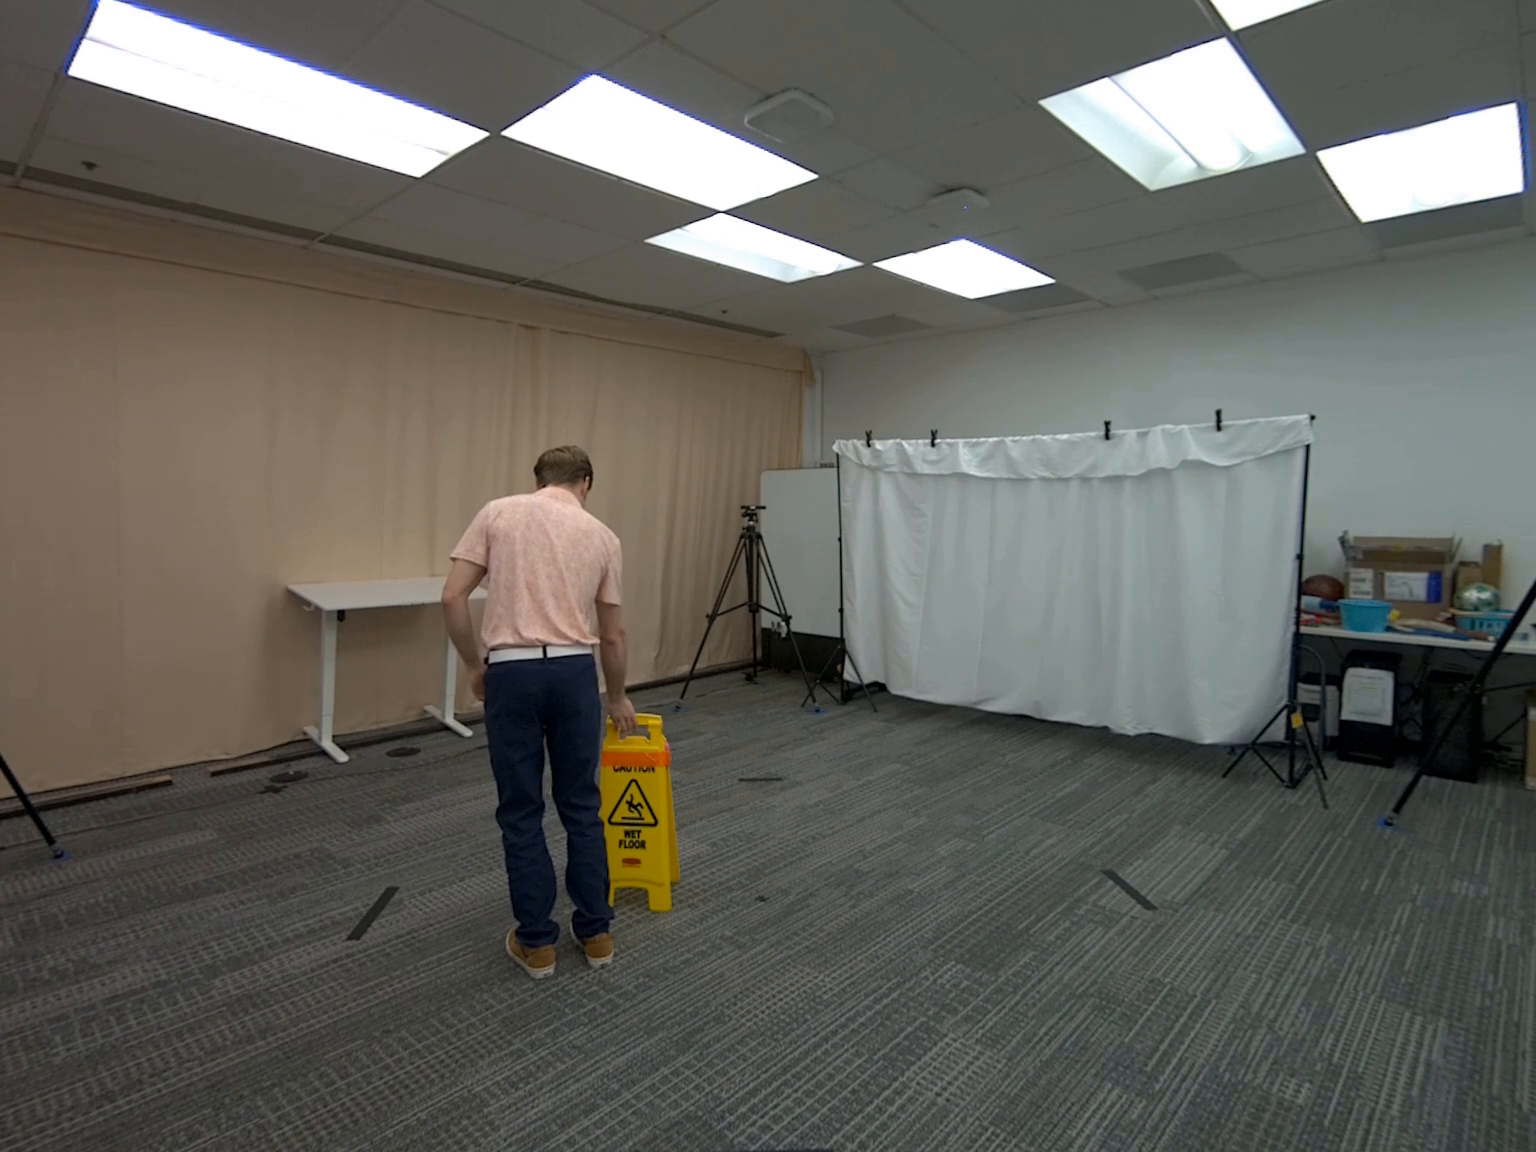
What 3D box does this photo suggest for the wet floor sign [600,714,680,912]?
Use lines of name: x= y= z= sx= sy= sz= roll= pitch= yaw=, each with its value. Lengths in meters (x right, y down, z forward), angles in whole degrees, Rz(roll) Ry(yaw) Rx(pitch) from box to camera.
wet floor sign: x=-0.472 y=0.818 z=3.014 sx=0.284 sy=0.645 sz=0.289 roll=1 pitch=2 yaw=3
